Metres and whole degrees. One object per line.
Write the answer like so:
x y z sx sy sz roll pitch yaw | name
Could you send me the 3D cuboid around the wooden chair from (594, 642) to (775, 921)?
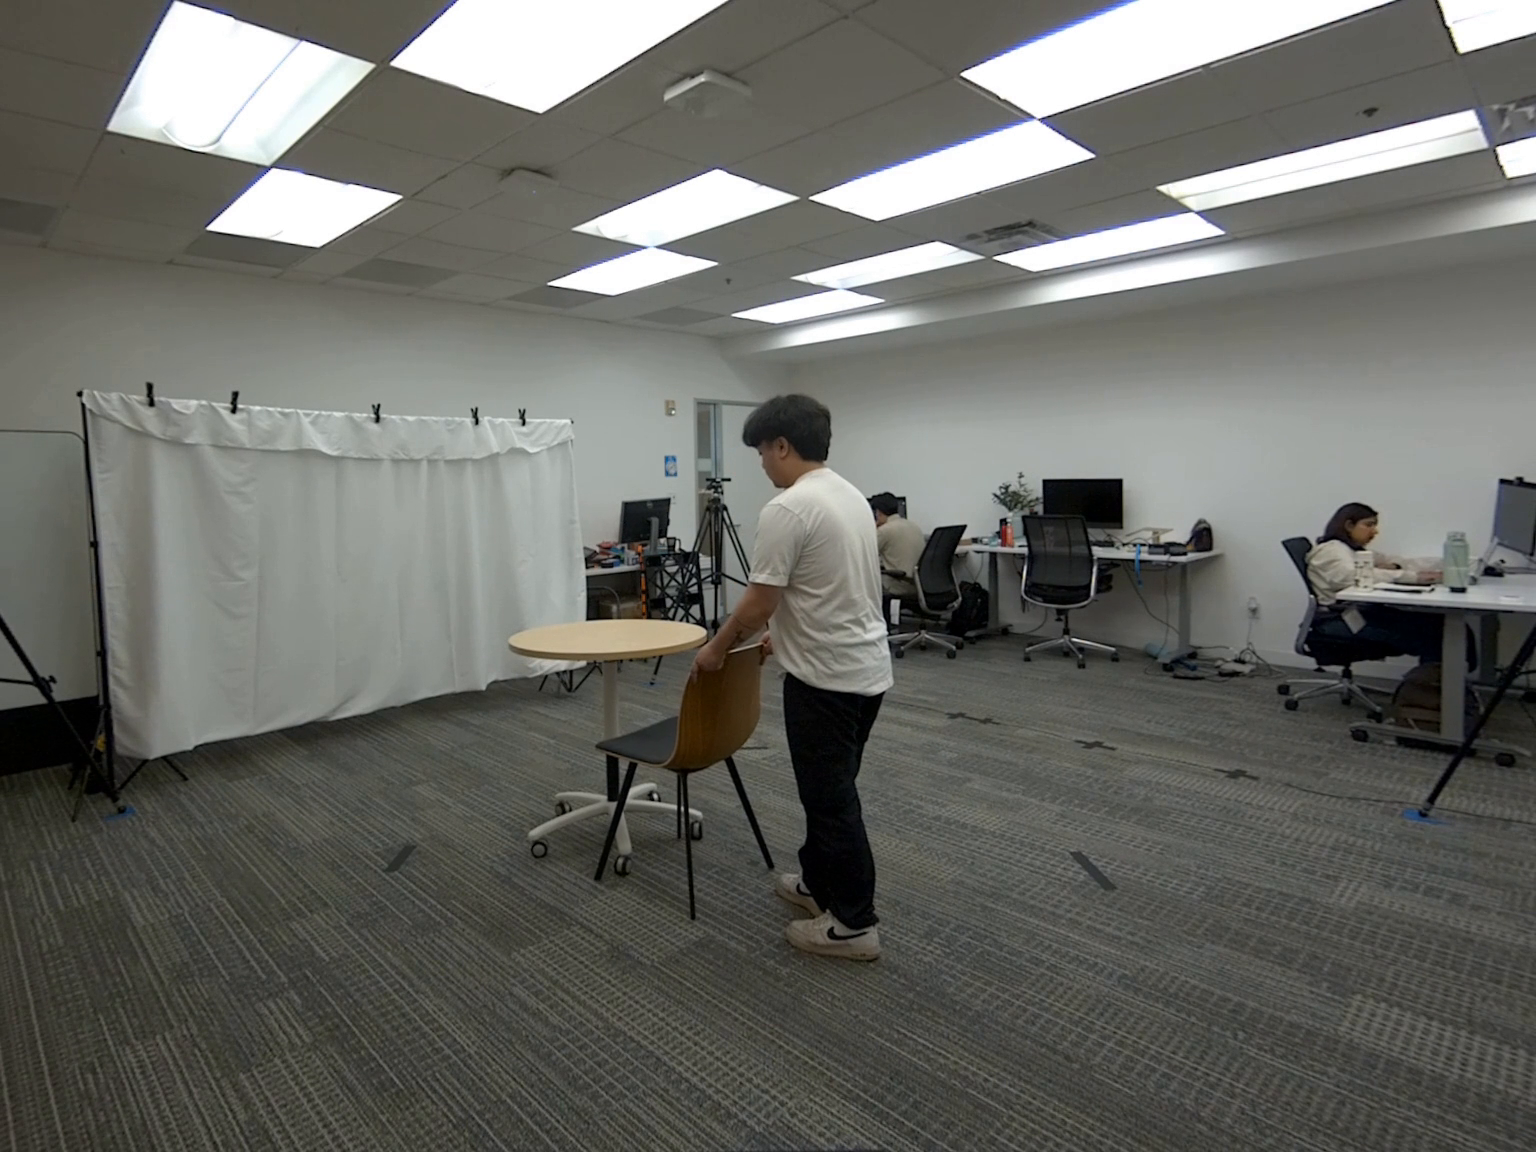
-0.298 0.630 2.992 0.540 0.872 0.466 8 9 37 | wooden chair
